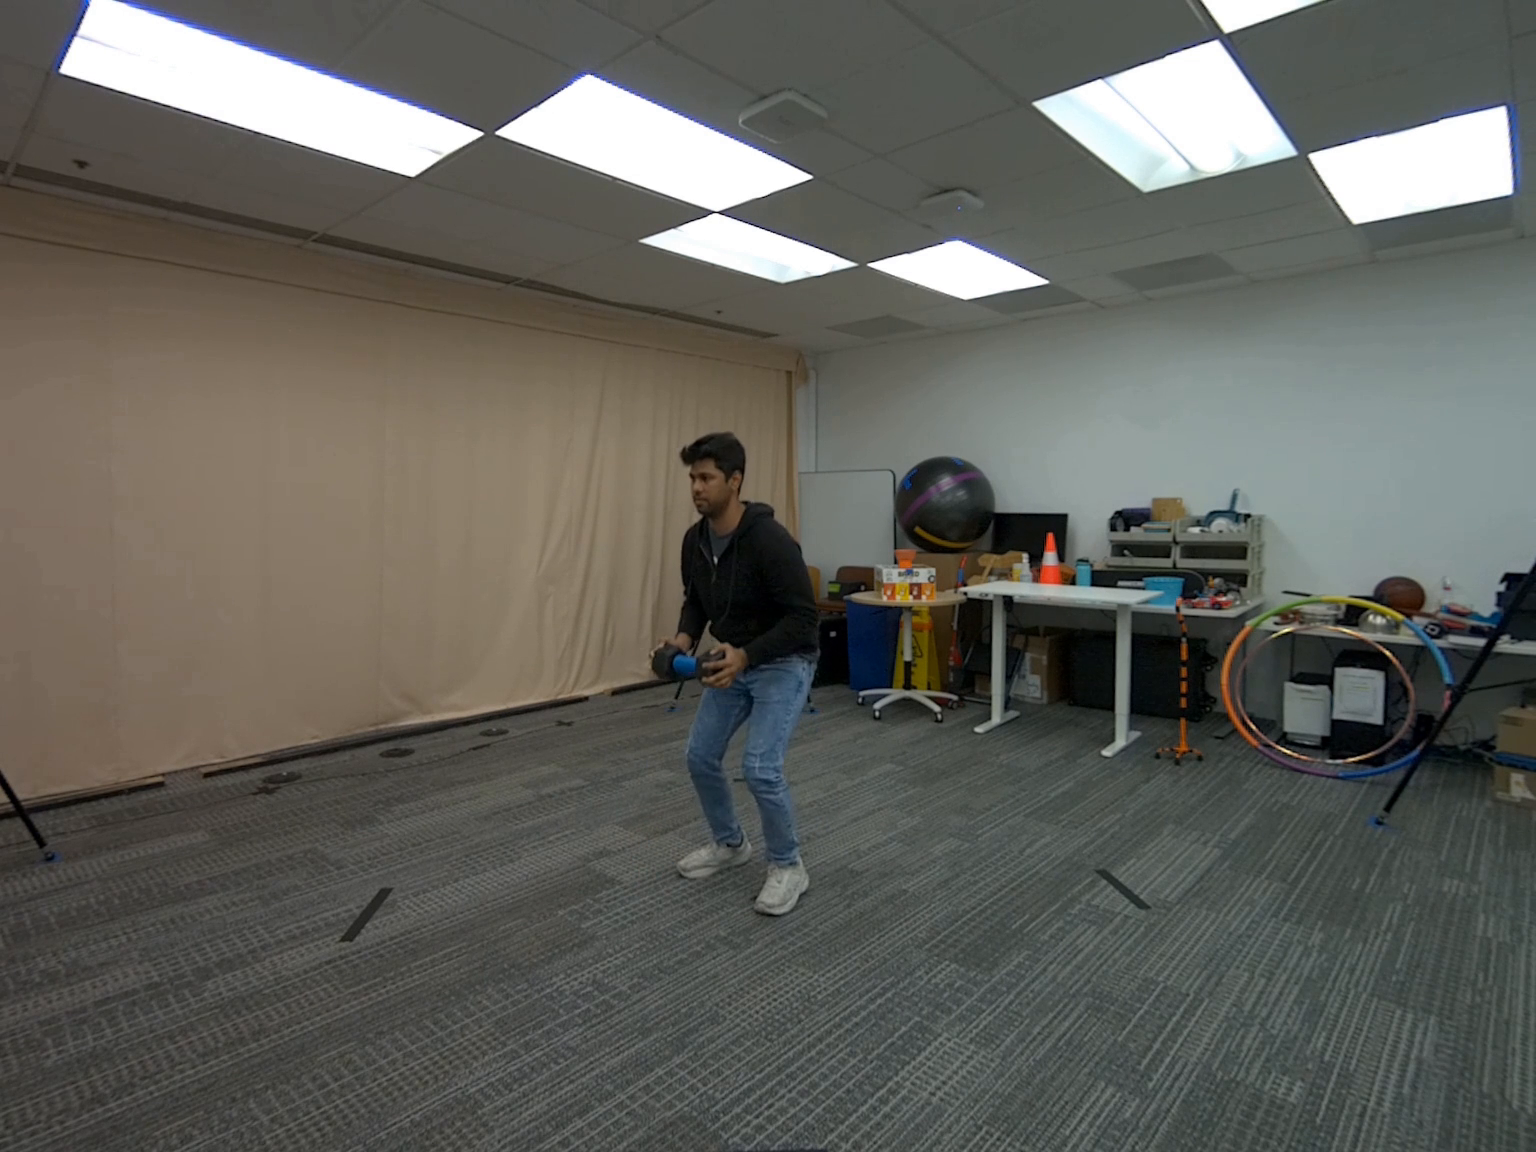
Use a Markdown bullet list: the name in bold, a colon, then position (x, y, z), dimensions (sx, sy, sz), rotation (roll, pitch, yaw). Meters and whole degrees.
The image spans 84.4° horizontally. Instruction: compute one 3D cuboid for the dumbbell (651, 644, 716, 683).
- **dumbbell**: position (-0.253, 0.312, 2.823), dimensions (0.303, 0.107, 0.120), rotation (2, 21, 43)
